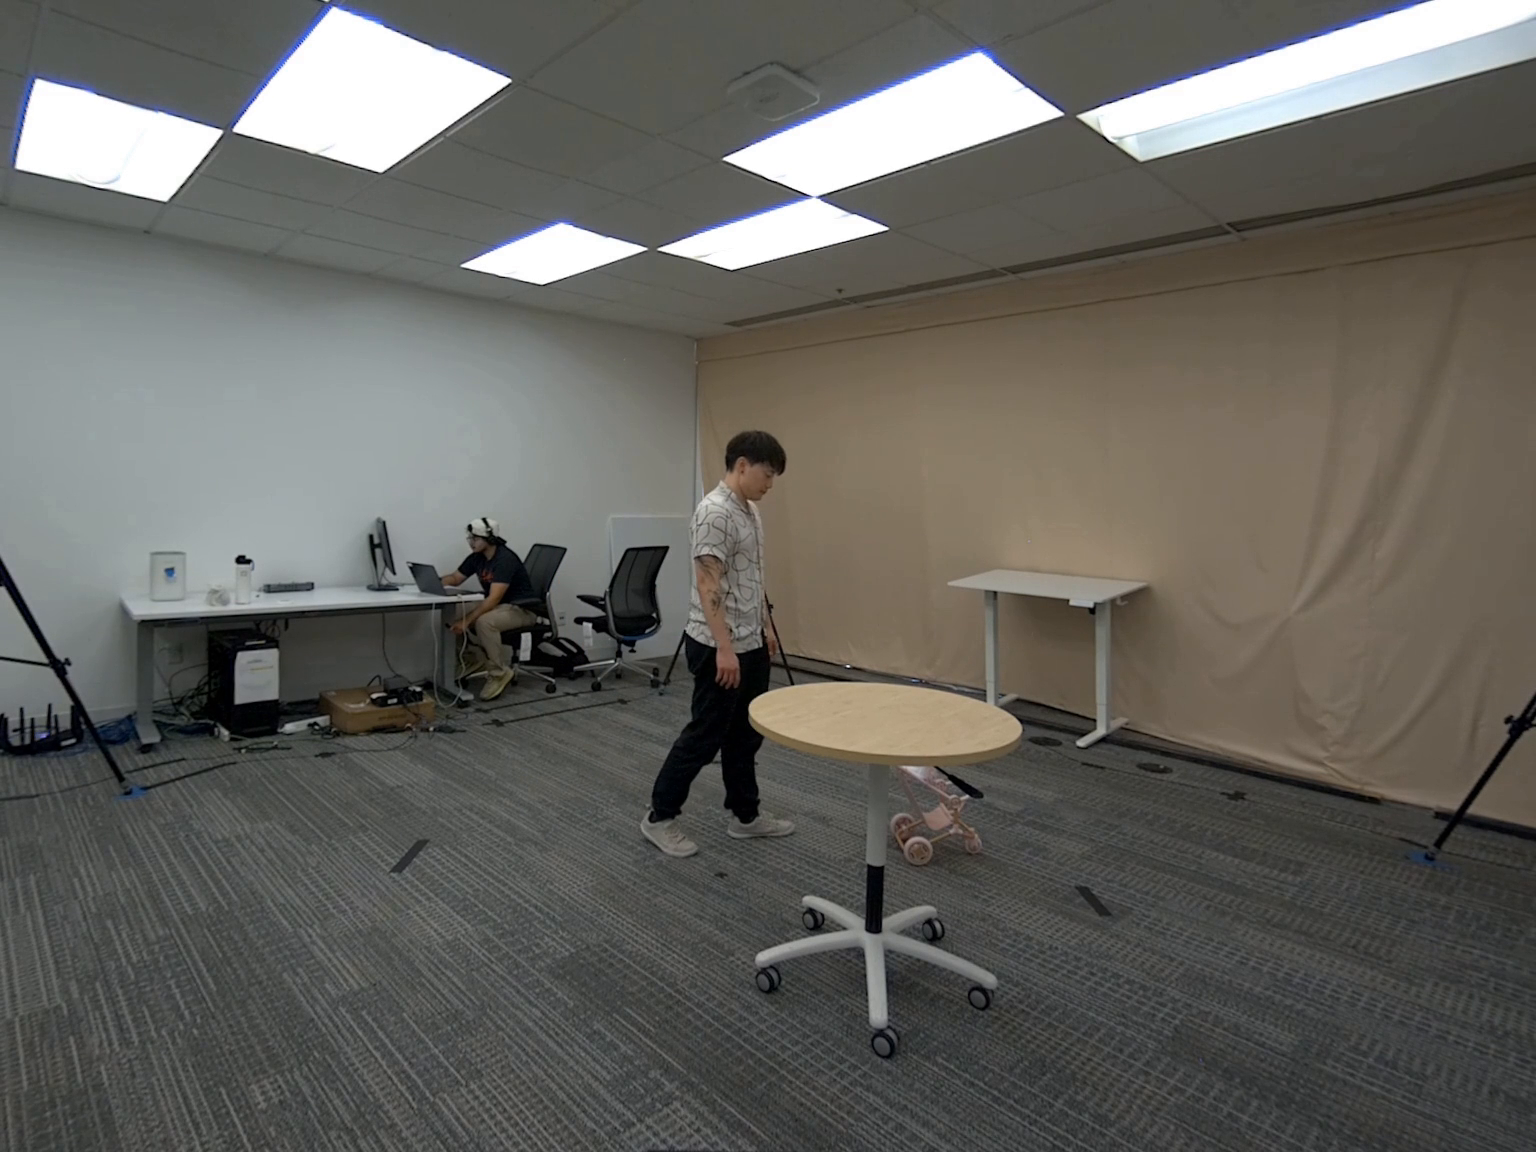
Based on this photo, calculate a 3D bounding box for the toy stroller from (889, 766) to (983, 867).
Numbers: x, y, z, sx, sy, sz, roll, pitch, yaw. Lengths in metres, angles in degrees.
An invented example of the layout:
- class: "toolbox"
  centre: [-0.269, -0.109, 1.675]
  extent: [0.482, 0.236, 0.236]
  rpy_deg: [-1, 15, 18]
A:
- class: "toy stroller"
  centre: [0.630, 0.880, 3.349]
  extent: [0.342, 0.534, 0.281]
  rpy_deg: [-14, 3, 3]
